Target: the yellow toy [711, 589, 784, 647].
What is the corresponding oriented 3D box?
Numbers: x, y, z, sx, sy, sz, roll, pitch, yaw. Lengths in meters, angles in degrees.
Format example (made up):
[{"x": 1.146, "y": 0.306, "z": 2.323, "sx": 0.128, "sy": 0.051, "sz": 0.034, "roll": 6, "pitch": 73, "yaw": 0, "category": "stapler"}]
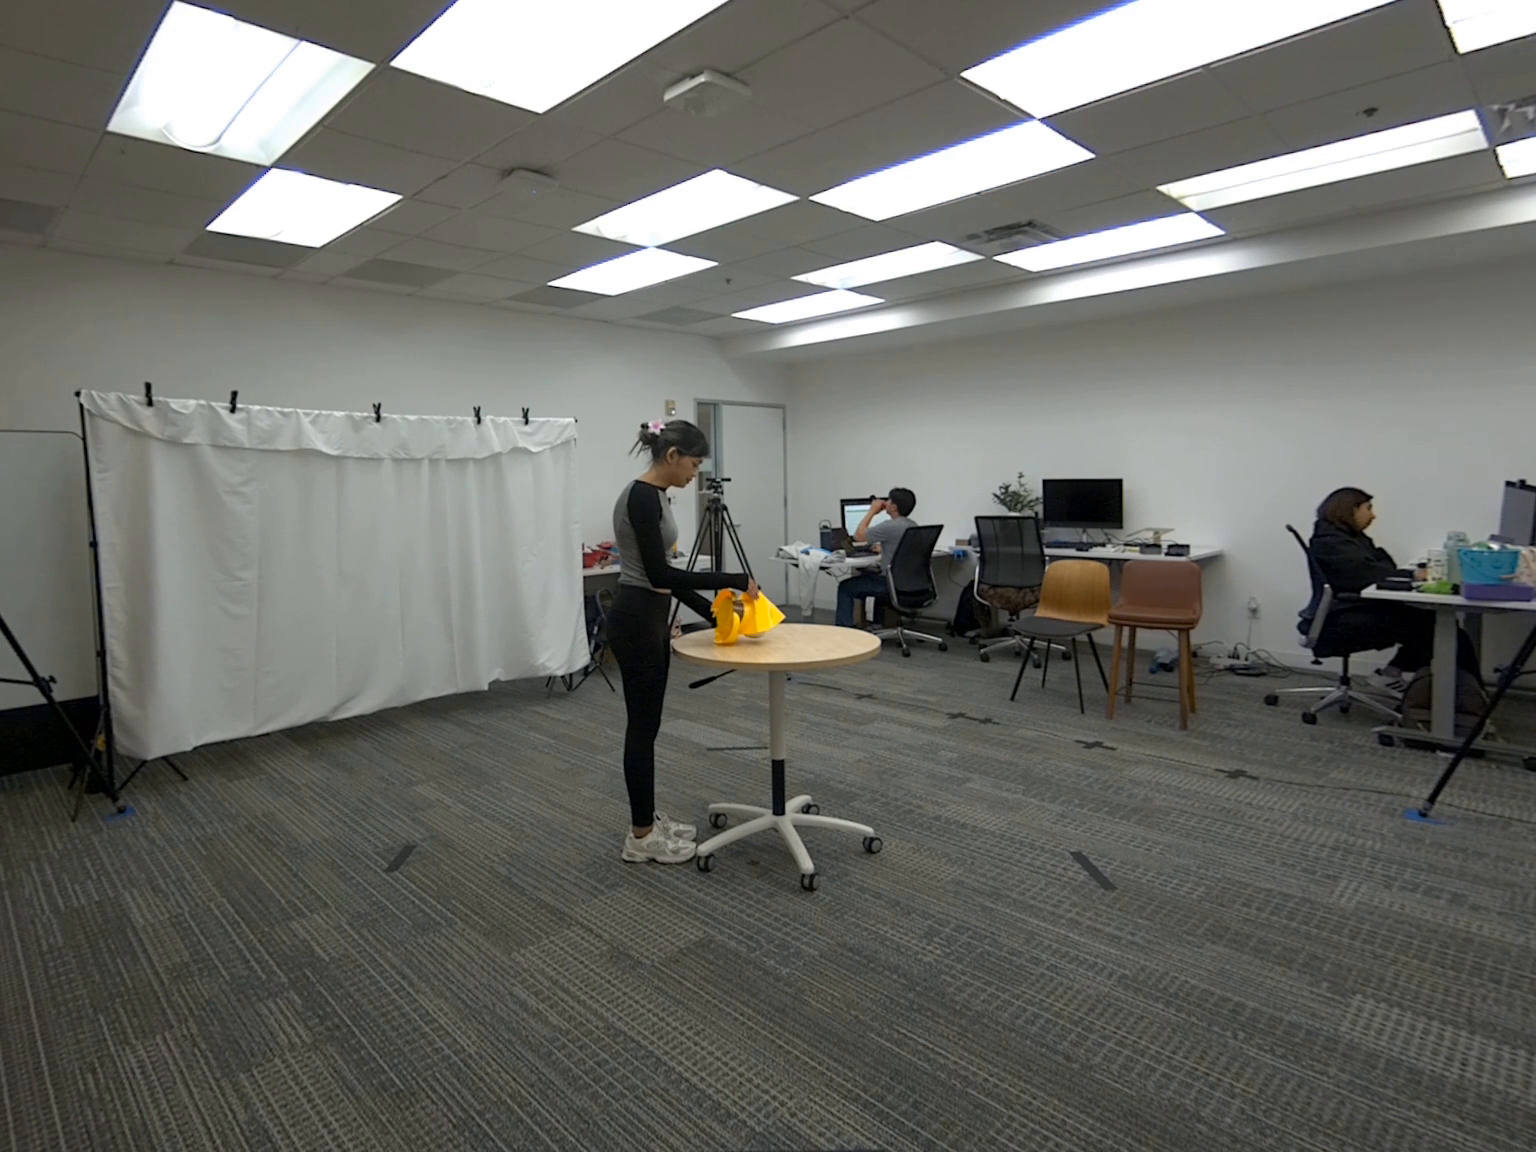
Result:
[{"x": -0.064, "y": 0.161, "z": 3.165, "sx": 0.224, "sy": 0.210, "sz": 0.193, "roll": 12, "pitch": -36, "yaw": -28, "category": "yellow toy"}]
